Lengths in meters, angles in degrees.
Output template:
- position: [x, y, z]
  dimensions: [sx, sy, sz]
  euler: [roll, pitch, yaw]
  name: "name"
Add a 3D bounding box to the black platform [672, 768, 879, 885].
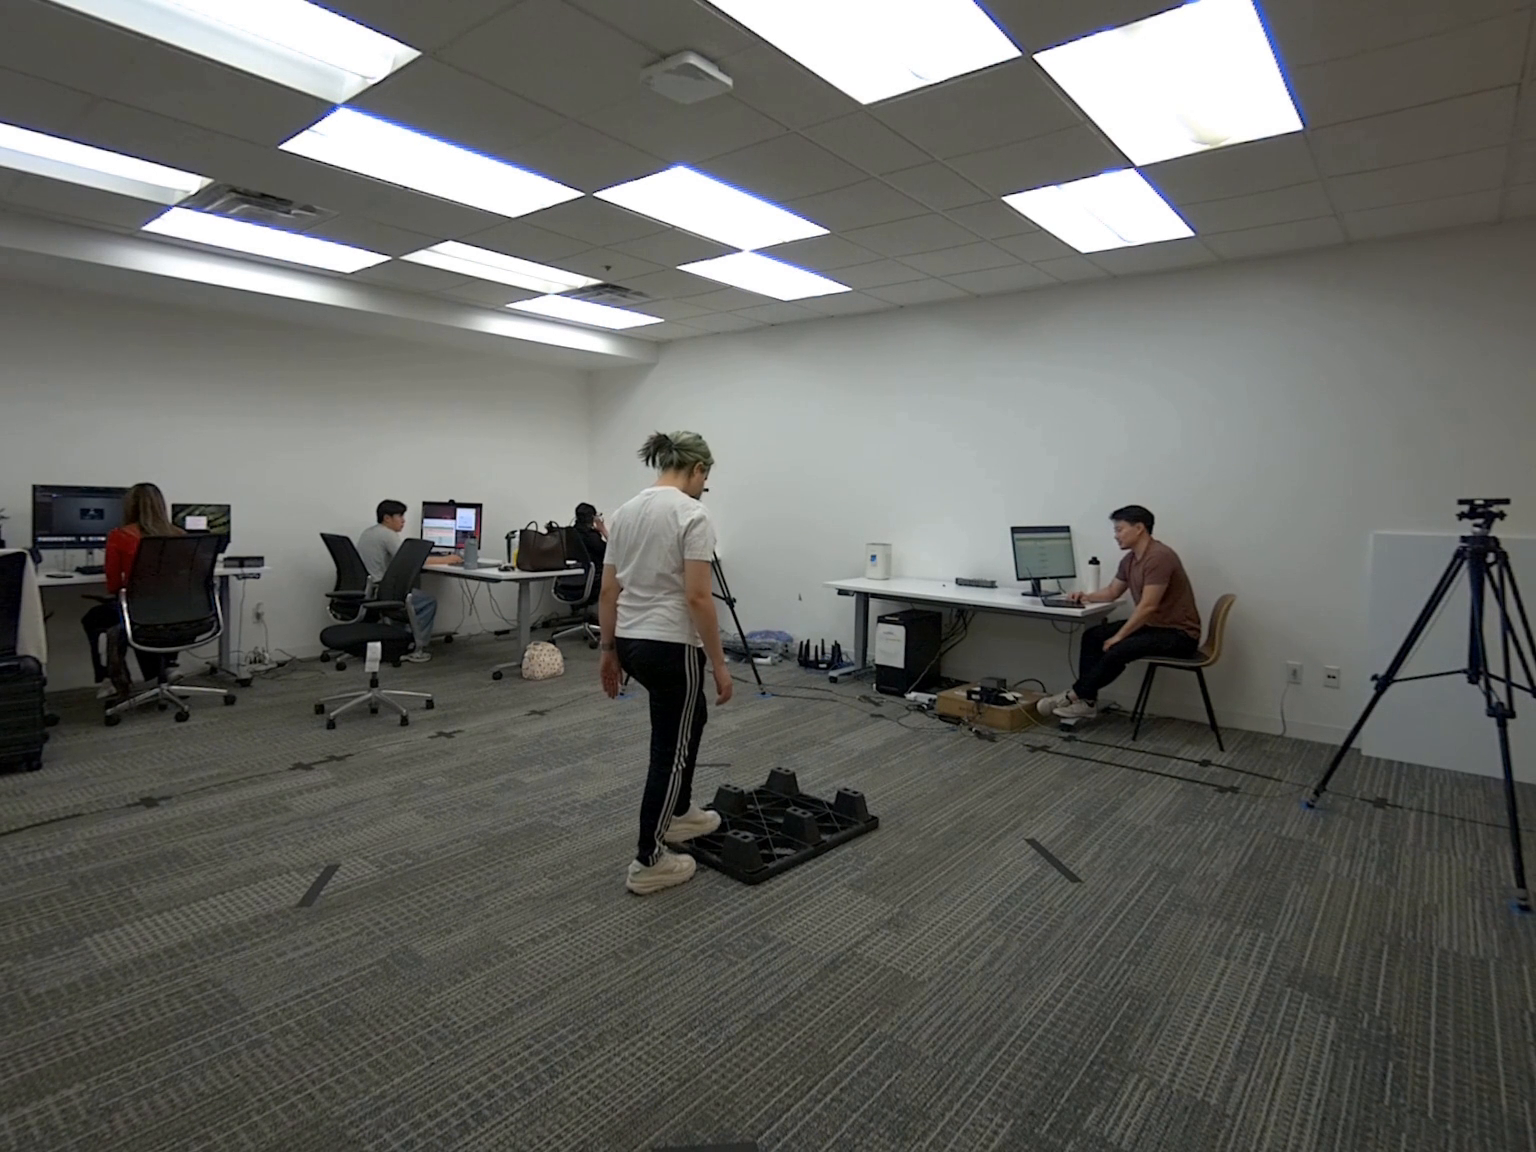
- position: [-0.025, 0.973, 3.455]
  dimensions: [0.626, 0.143, 0.782]
  euler: [5, 7, 42]
  name: "black platform"
